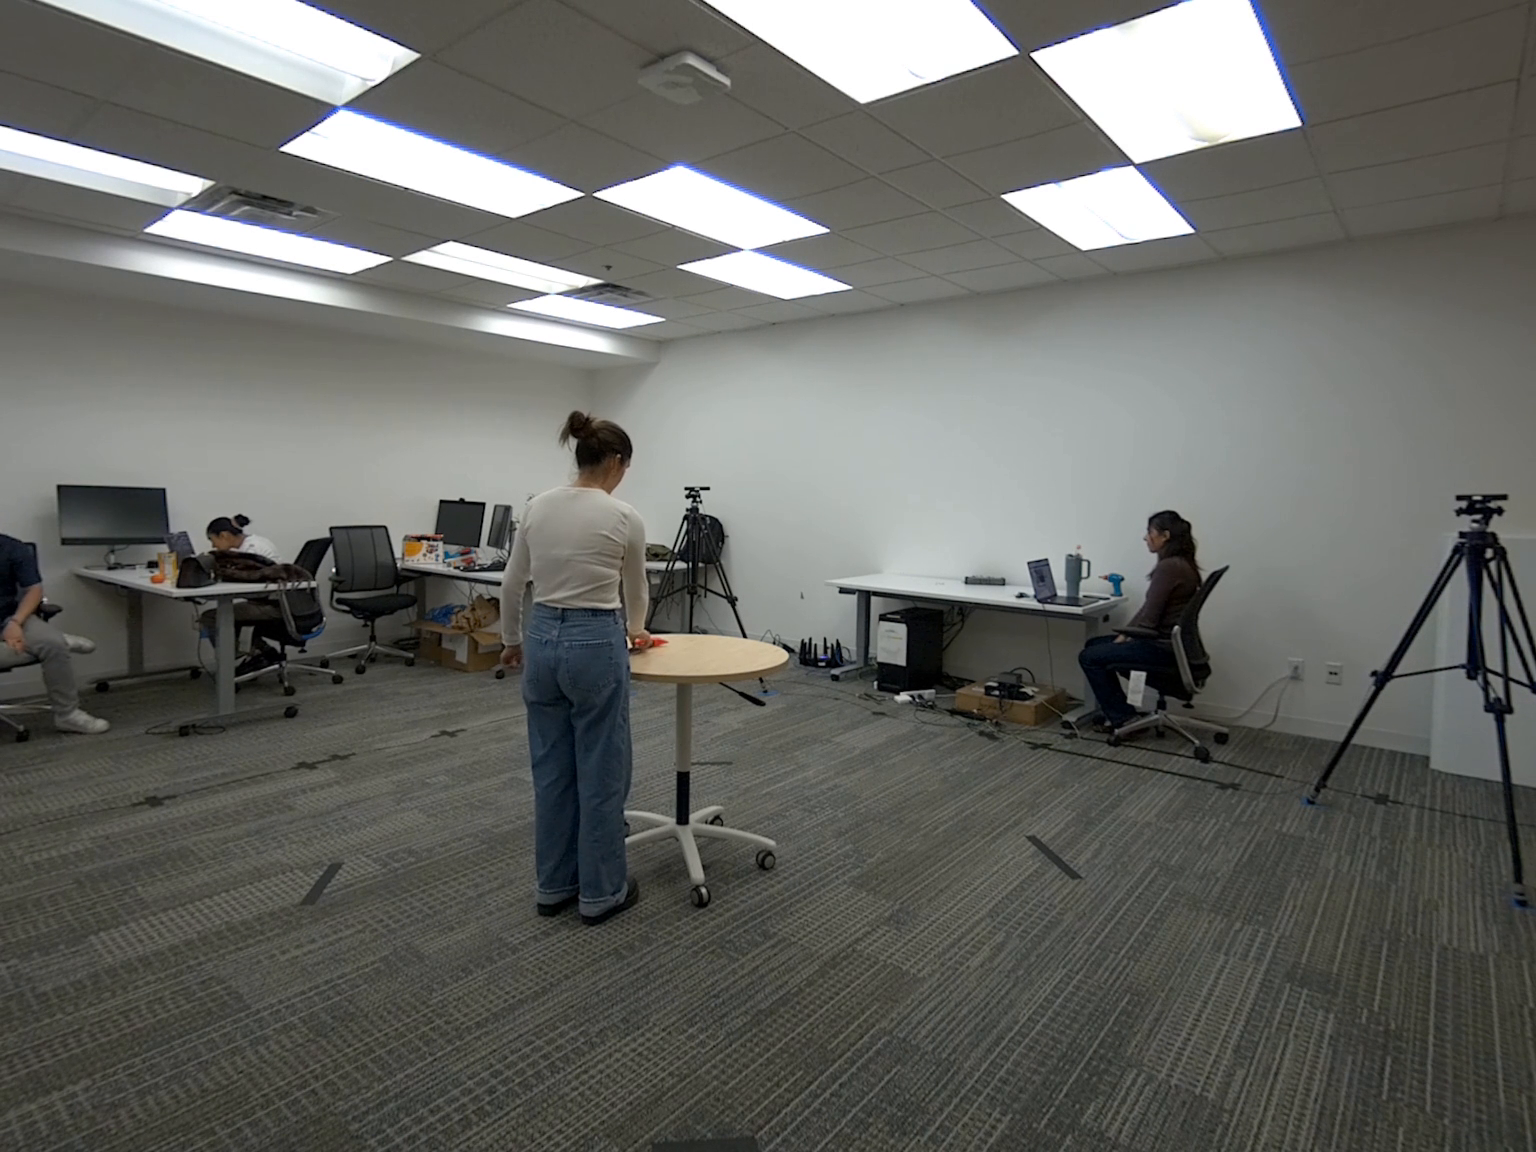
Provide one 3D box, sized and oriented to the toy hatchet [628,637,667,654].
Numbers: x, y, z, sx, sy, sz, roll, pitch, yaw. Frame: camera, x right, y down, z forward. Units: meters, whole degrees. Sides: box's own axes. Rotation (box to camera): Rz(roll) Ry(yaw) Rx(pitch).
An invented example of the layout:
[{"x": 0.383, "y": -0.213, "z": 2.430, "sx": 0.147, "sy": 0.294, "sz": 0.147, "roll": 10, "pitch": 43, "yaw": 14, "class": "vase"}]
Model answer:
[{"x": -0.511, "y": 0.260, "z": 3.174, "sx": 0.135, "sy": 0.029, "sz": 0.263, "roll": 8, "pitch": 10, "yaw": 35, "class": "toy hatchet"}]
